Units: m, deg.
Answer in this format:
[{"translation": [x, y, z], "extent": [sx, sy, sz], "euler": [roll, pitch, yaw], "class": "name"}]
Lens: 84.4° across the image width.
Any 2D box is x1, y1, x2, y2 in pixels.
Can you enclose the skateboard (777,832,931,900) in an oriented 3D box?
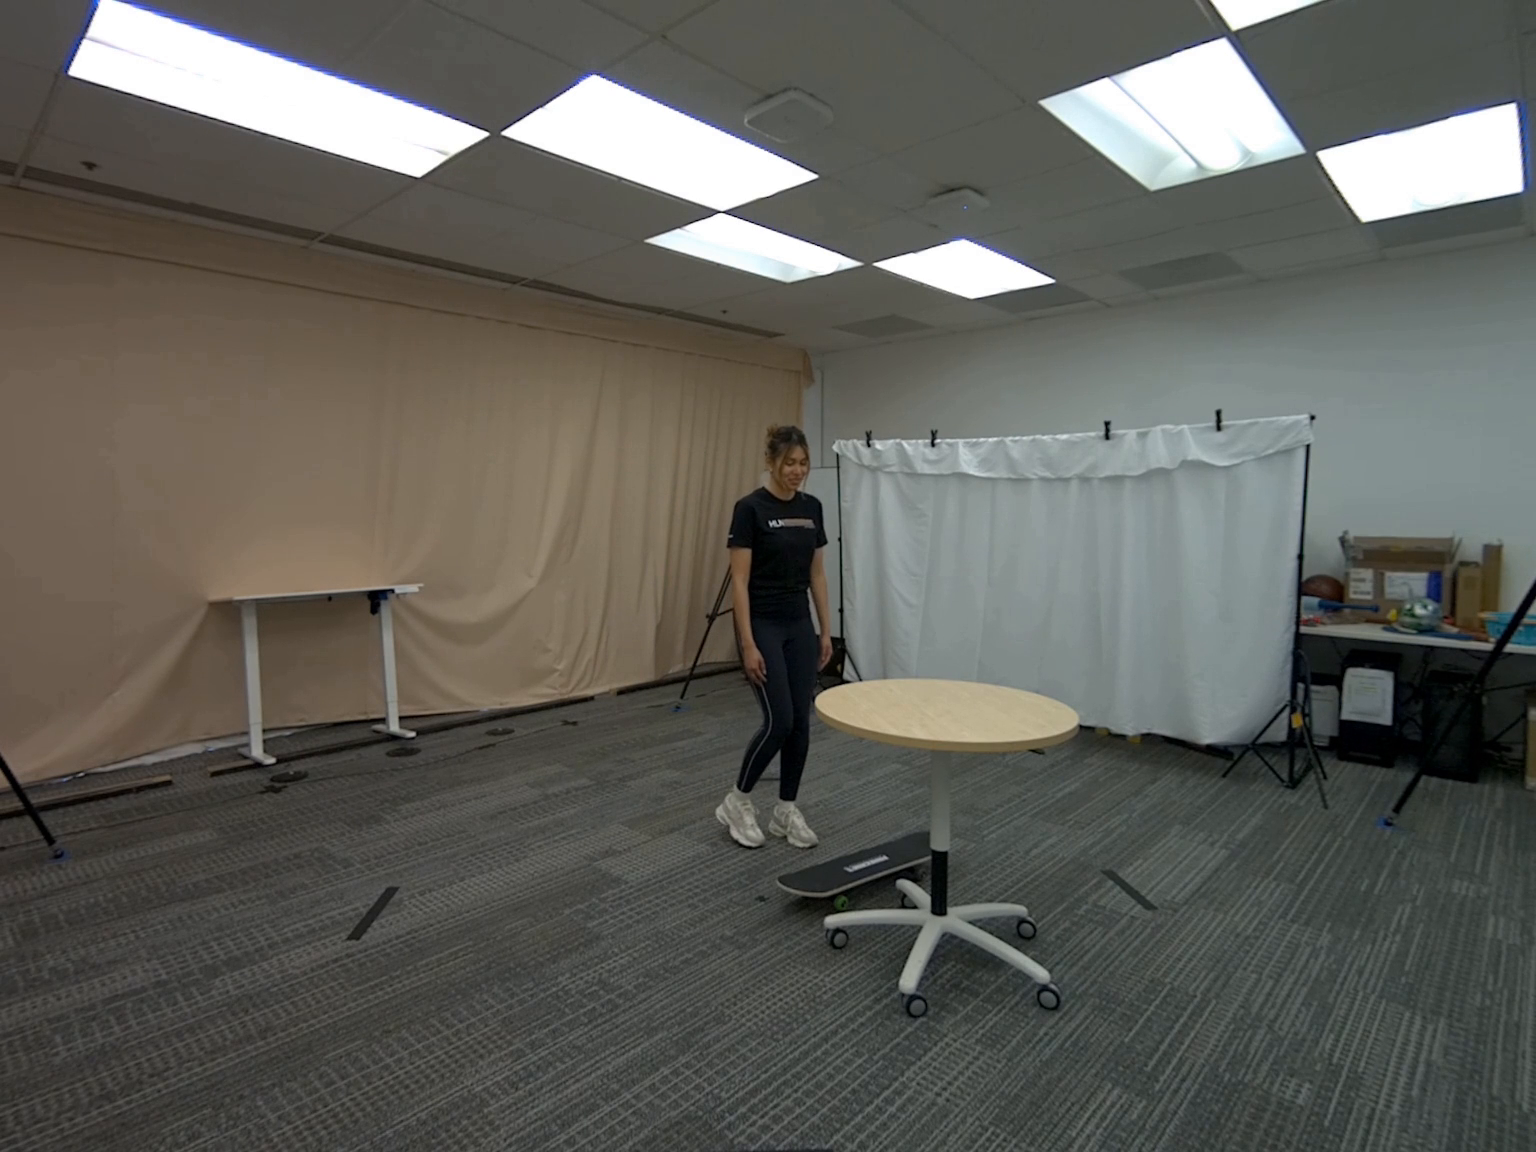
[{"translation": [0.362, 1.081, 3.064], "extent": [0.762, 0.110, 0.200], "euler": [-4, 5, -36], "class": "skateboard"}]
